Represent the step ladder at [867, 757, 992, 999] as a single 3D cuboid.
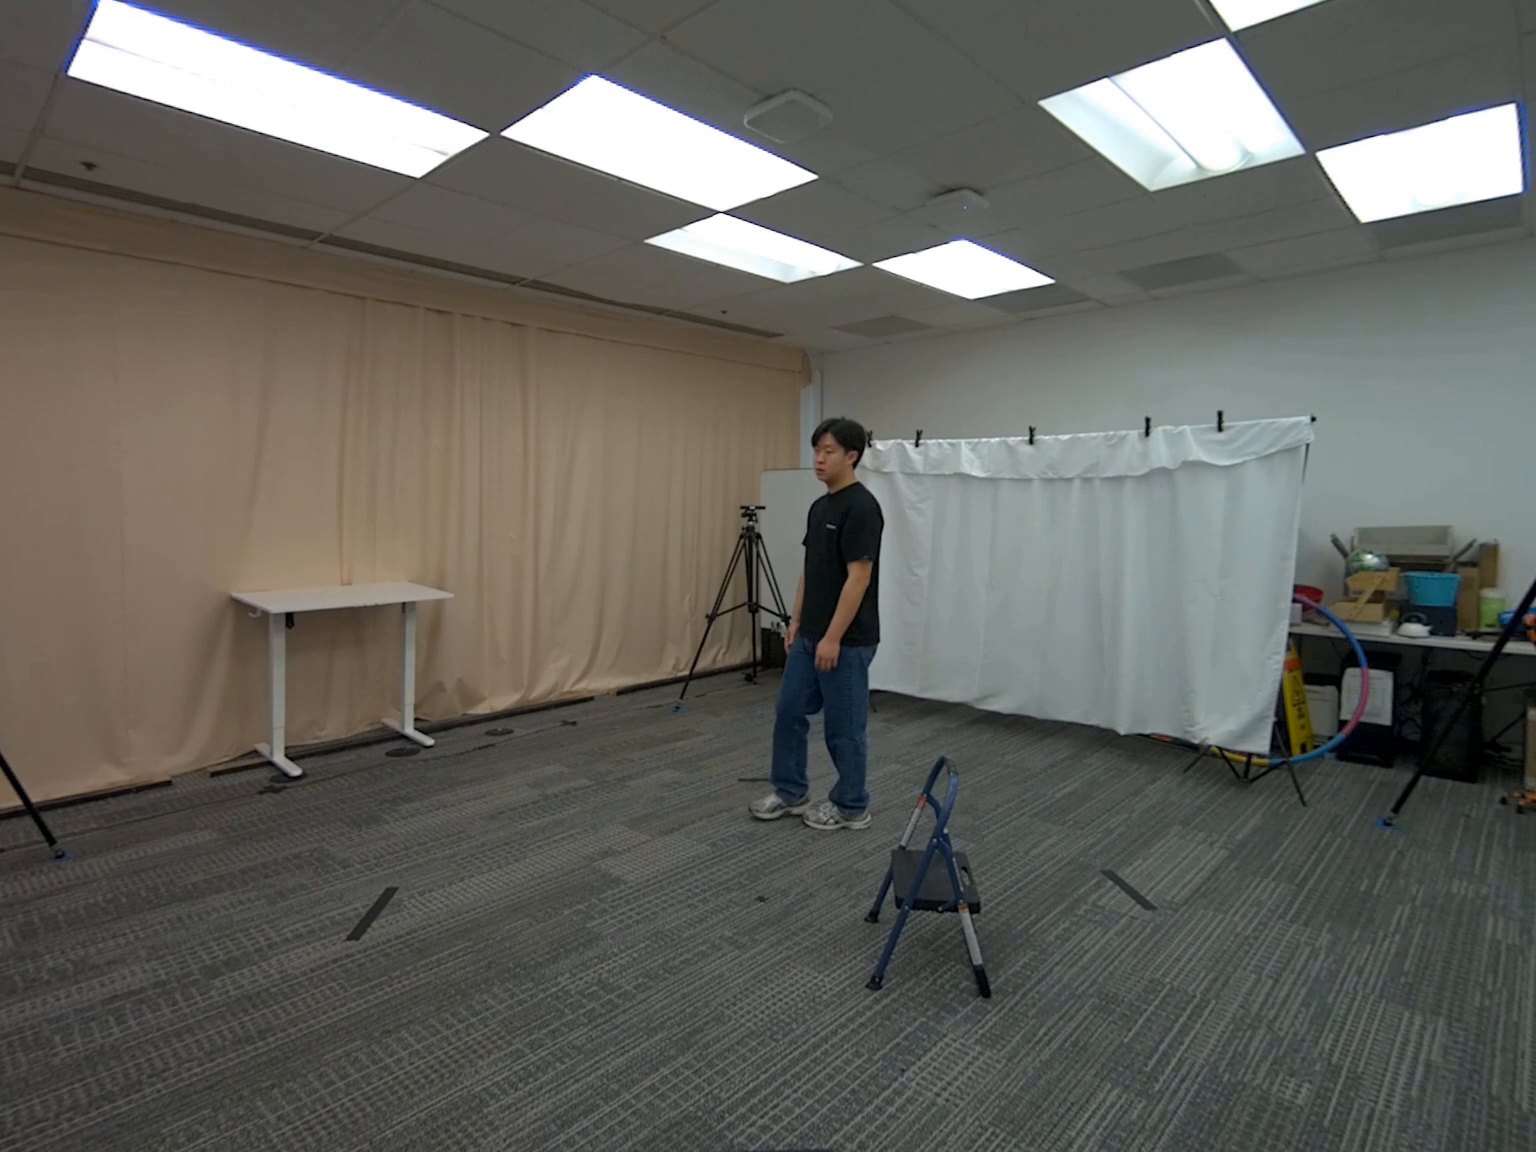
[{"bbox_3d":[0.484,0.874,2.587,0.352,0.604,0.429,0,4,6],"label":"step ladder"}]
